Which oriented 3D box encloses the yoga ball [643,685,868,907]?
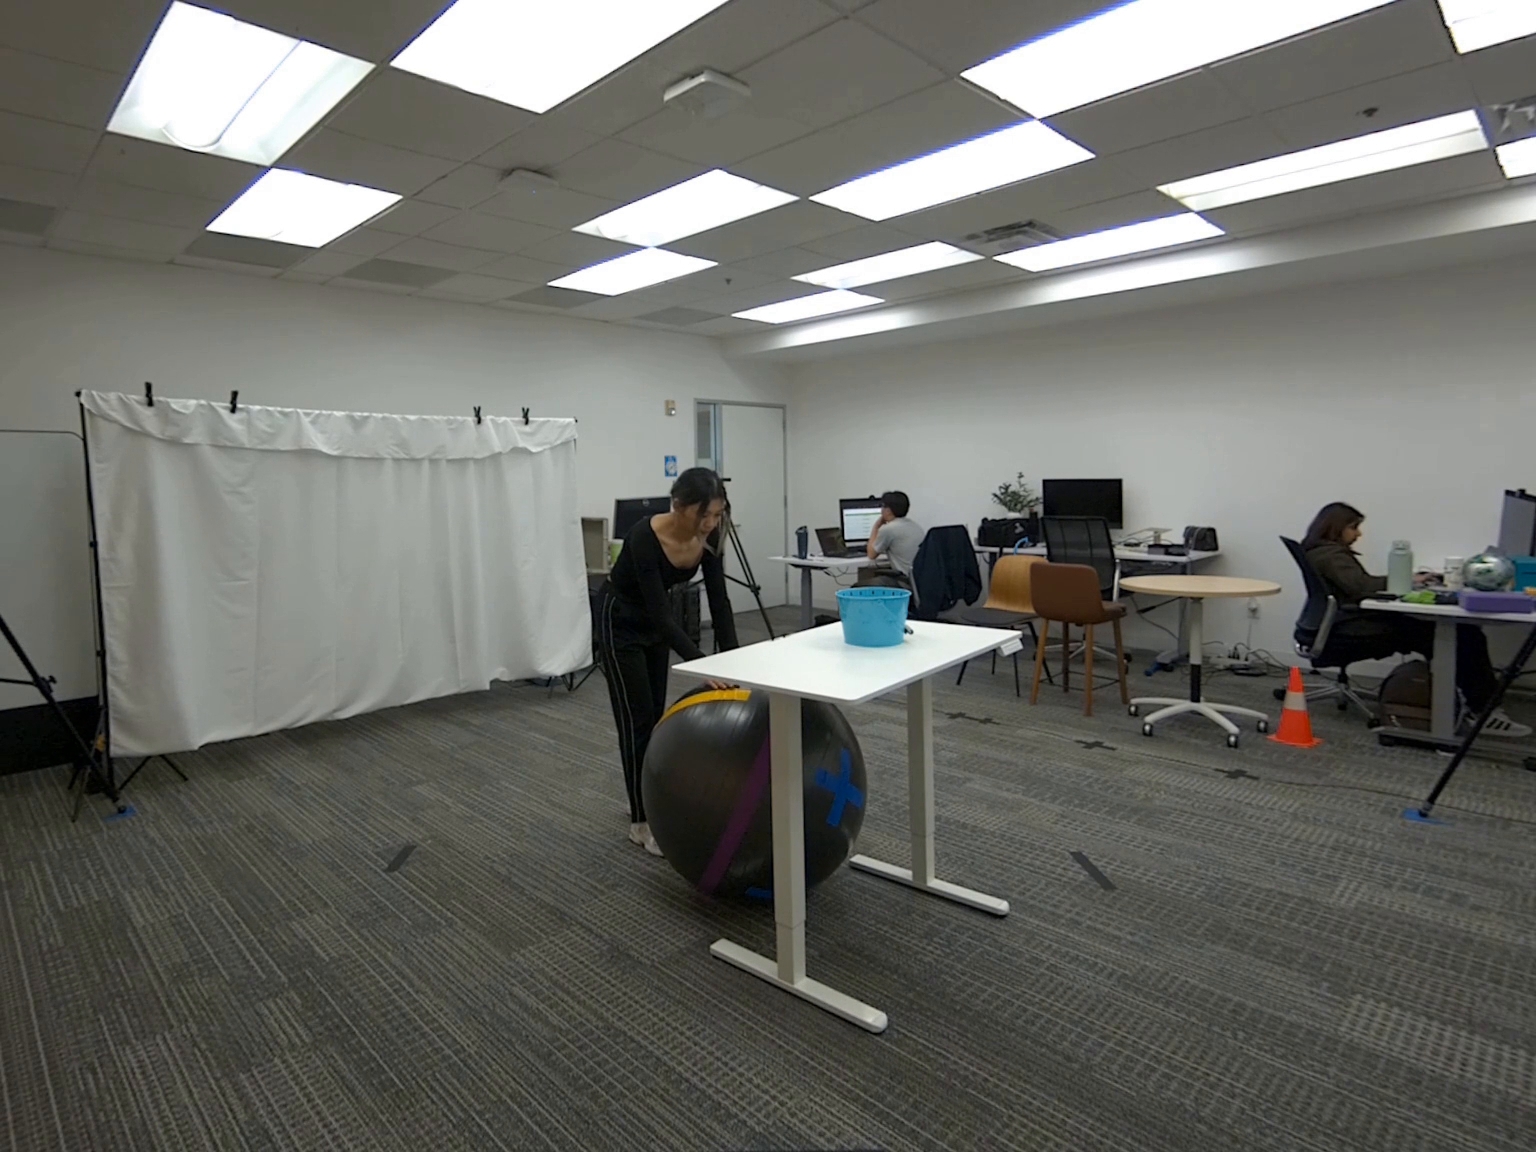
[{"bbox_3d":[-0.041,0.701,2.882,0.757,0.755,0.762,-1,5,-2],"label":"yoga ball"}]
